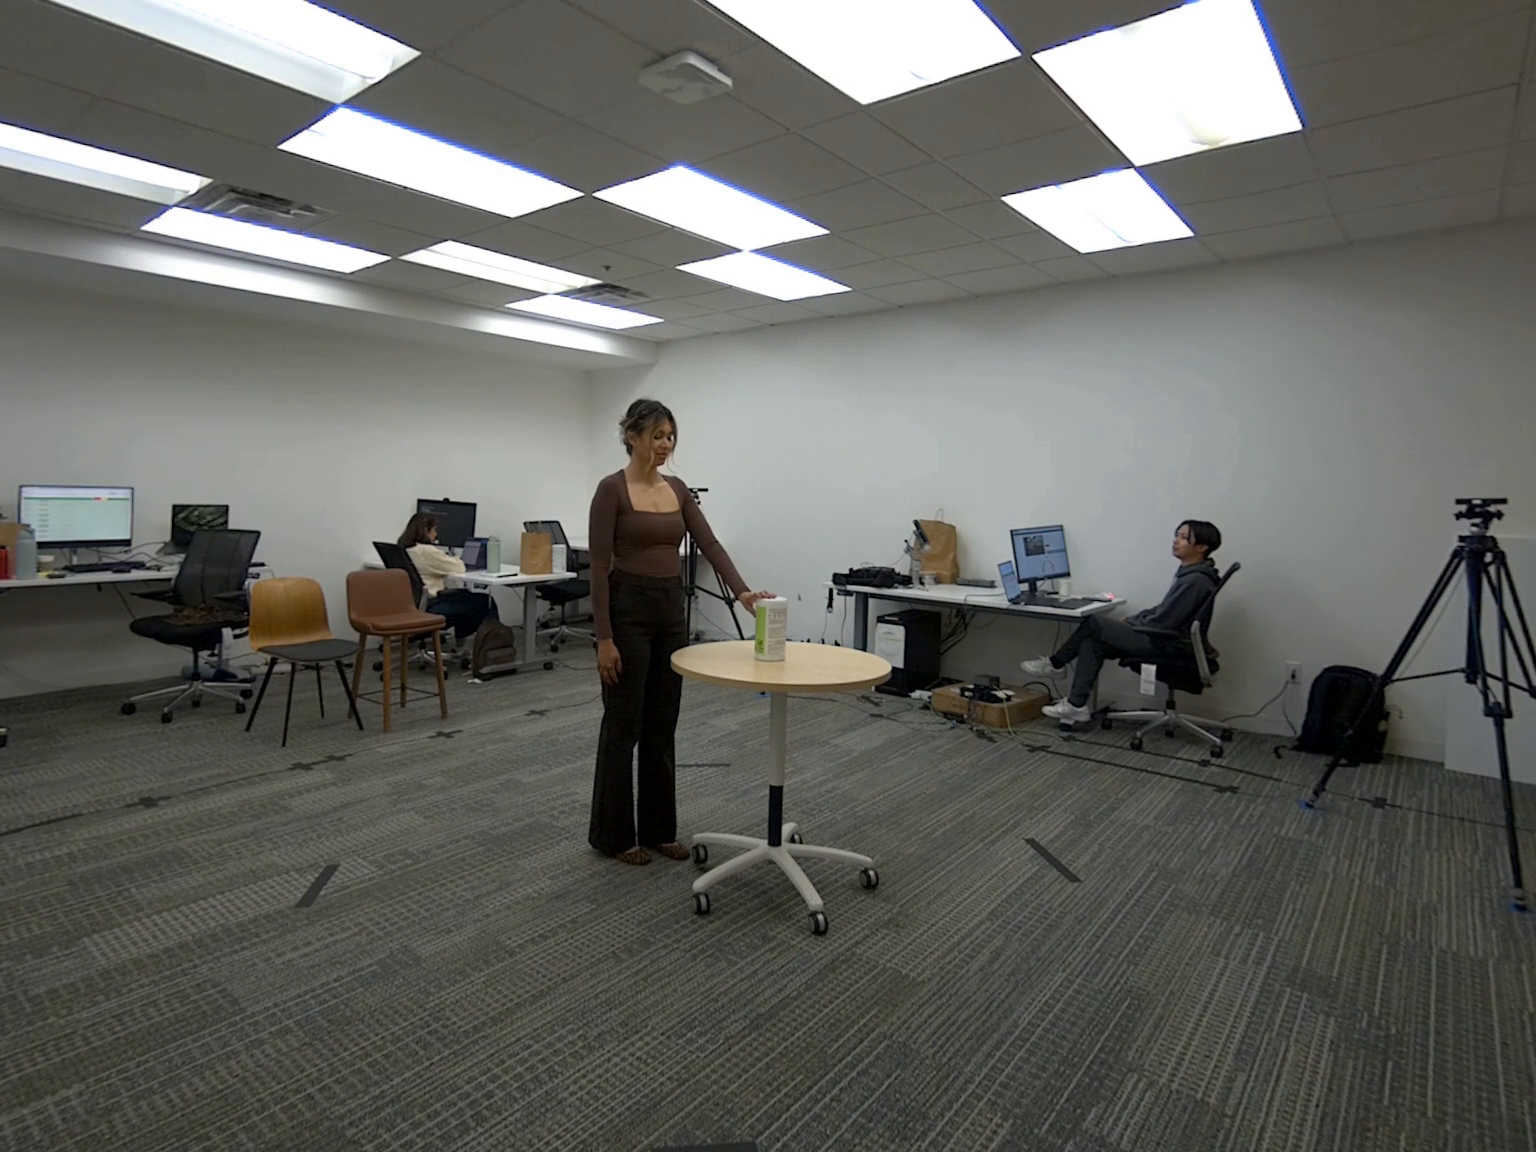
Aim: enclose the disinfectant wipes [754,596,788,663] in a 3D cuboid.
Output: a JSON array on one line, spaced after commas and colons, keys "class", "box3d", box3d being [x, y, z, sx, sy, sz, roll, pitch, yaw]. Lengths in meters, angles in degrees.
[{"class": "disinfectant wipes", "box3d": [0.004, 0.182, 2.986, 0.118, 0.217, 0.118, 0, 2, -2]}]
